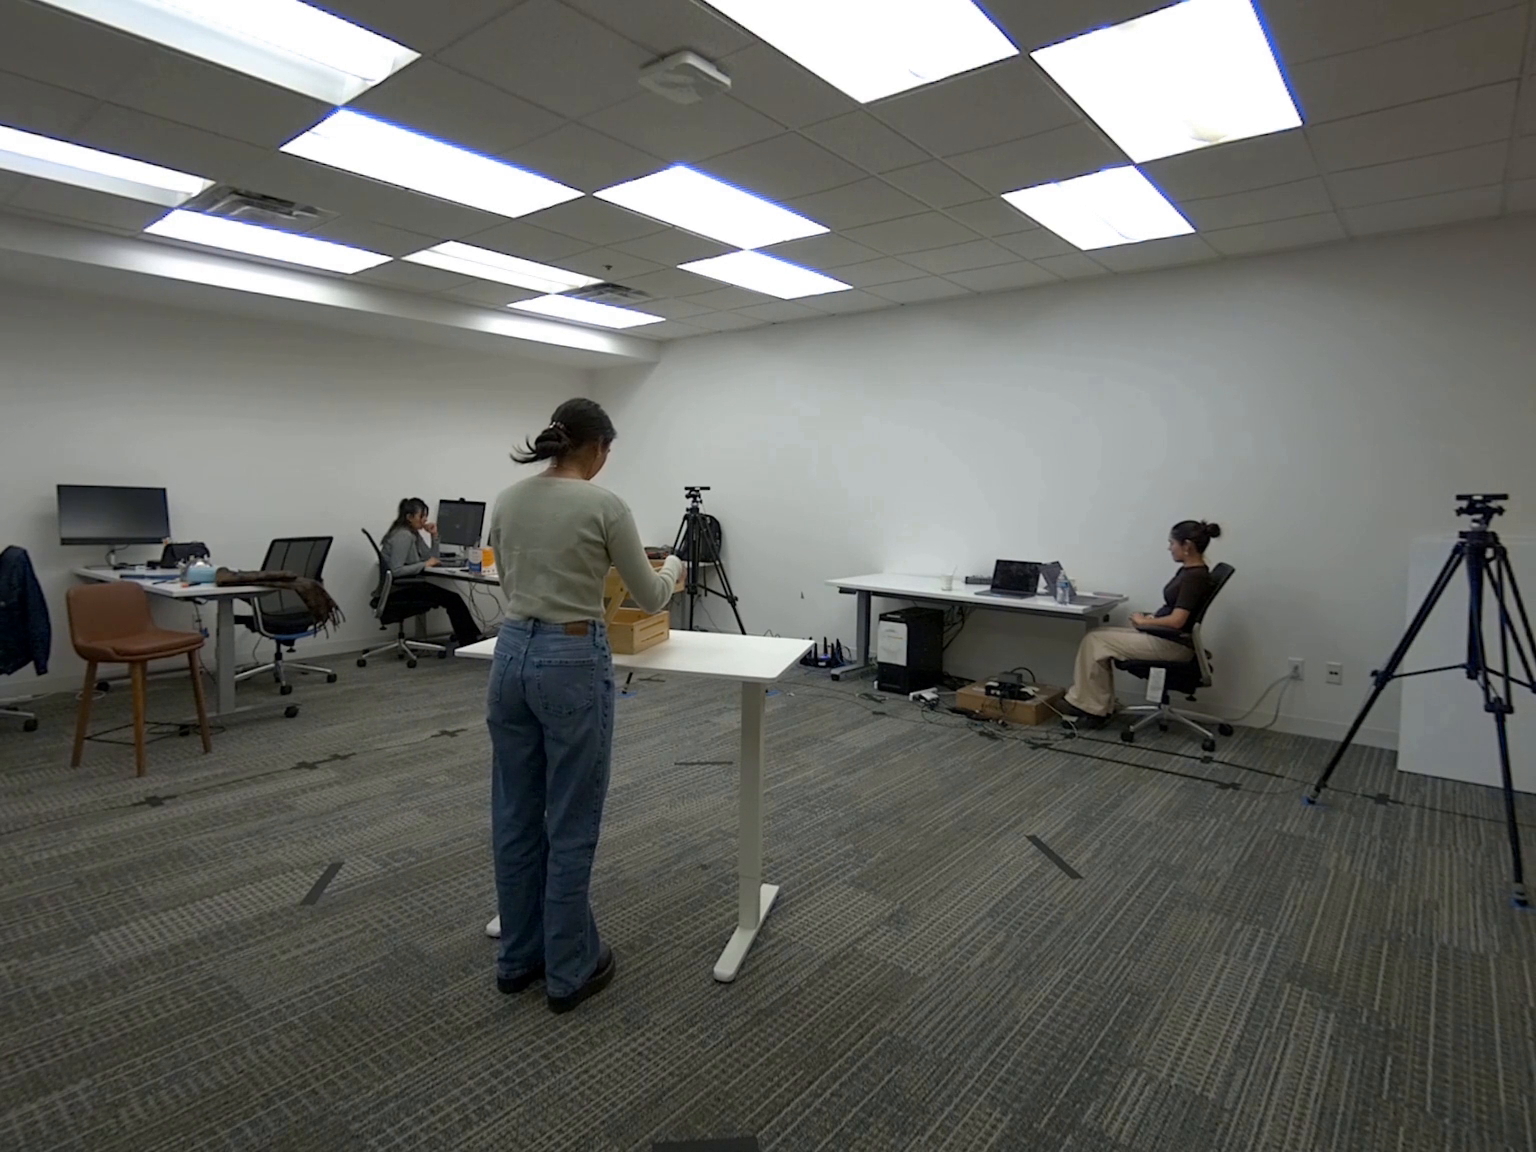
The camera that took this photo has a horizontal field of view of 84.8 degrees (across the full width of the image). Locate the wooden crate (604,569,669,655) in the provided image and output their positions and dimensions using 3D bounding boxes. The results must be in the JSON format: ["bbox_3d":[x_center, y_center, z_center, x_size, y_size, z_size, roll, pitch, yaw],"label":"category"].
[{"bbox_3d":[-0.471,0.084,2.737,0.307,0.272,0.320,3,4,14],"label":"wooden crate"}]
